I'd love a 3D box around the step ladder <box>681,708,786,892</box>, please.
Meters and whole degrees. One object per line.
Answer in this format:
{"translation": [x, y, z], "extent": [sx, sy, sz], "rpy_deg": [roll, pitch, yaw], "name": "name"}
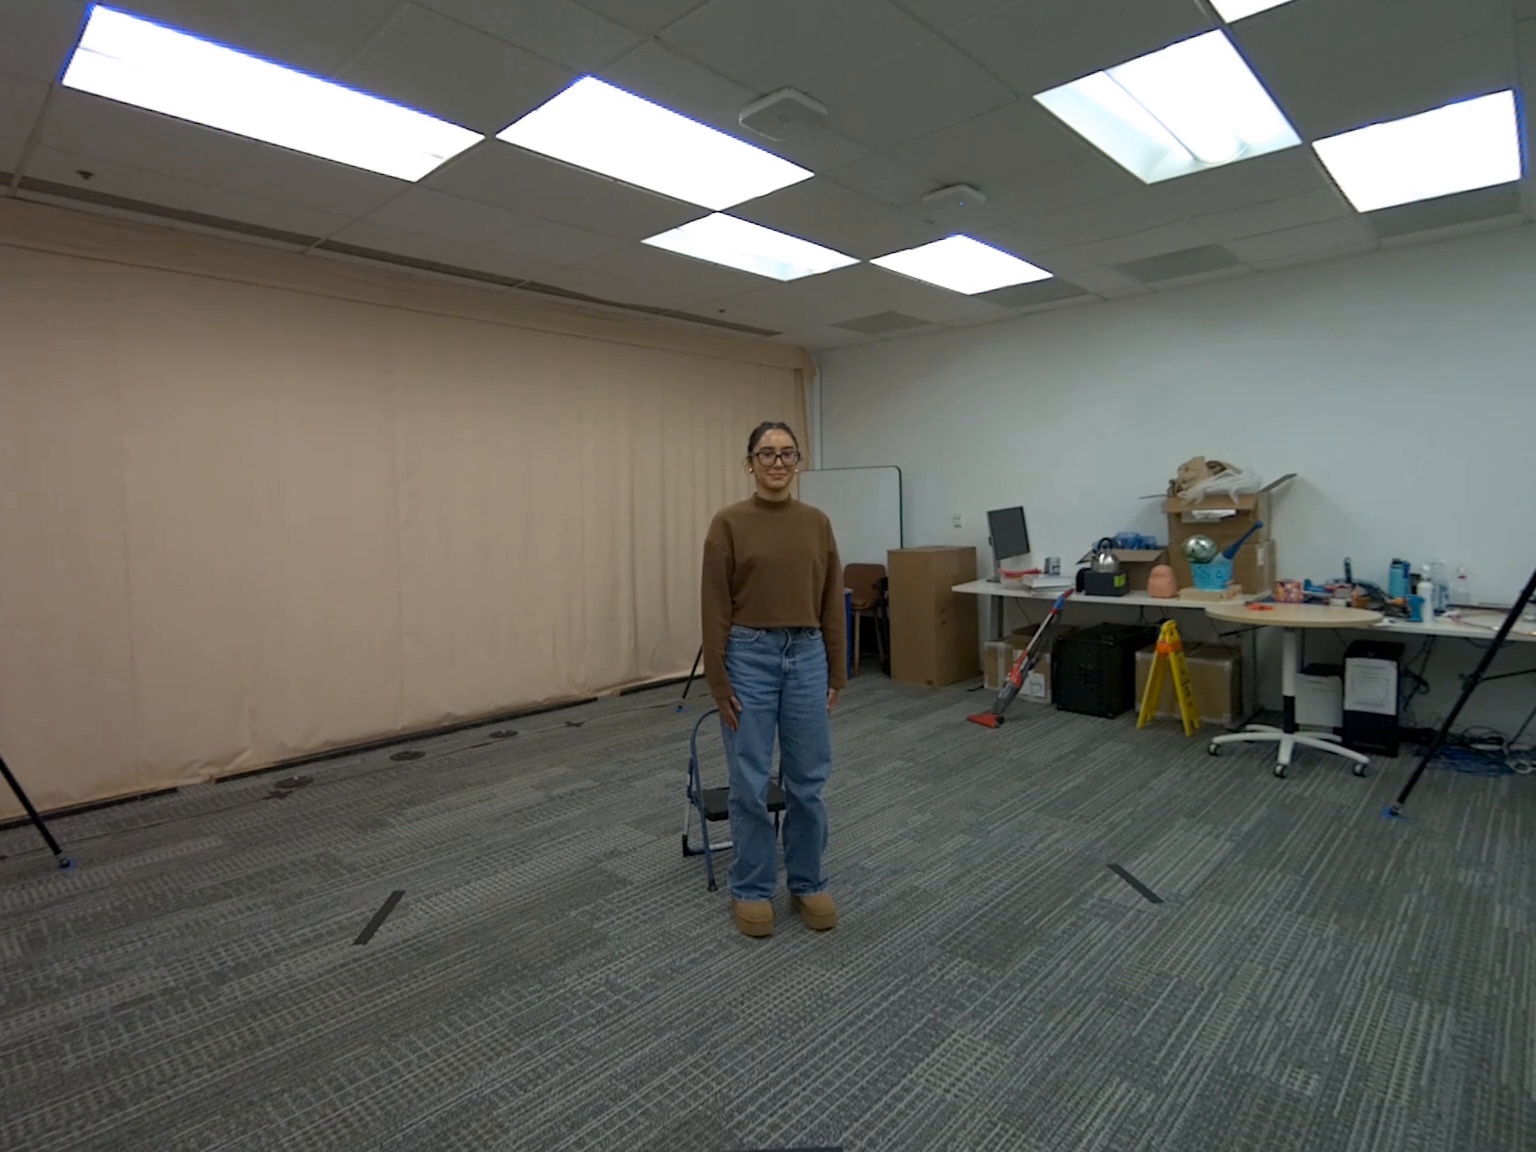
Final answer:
{"translation": [-0.088, 0.818, 3.256], "extent": [0.421, 0.604, 0.358], "rpy_deg": [-3, 4, -23], "name": "step ladder"}
